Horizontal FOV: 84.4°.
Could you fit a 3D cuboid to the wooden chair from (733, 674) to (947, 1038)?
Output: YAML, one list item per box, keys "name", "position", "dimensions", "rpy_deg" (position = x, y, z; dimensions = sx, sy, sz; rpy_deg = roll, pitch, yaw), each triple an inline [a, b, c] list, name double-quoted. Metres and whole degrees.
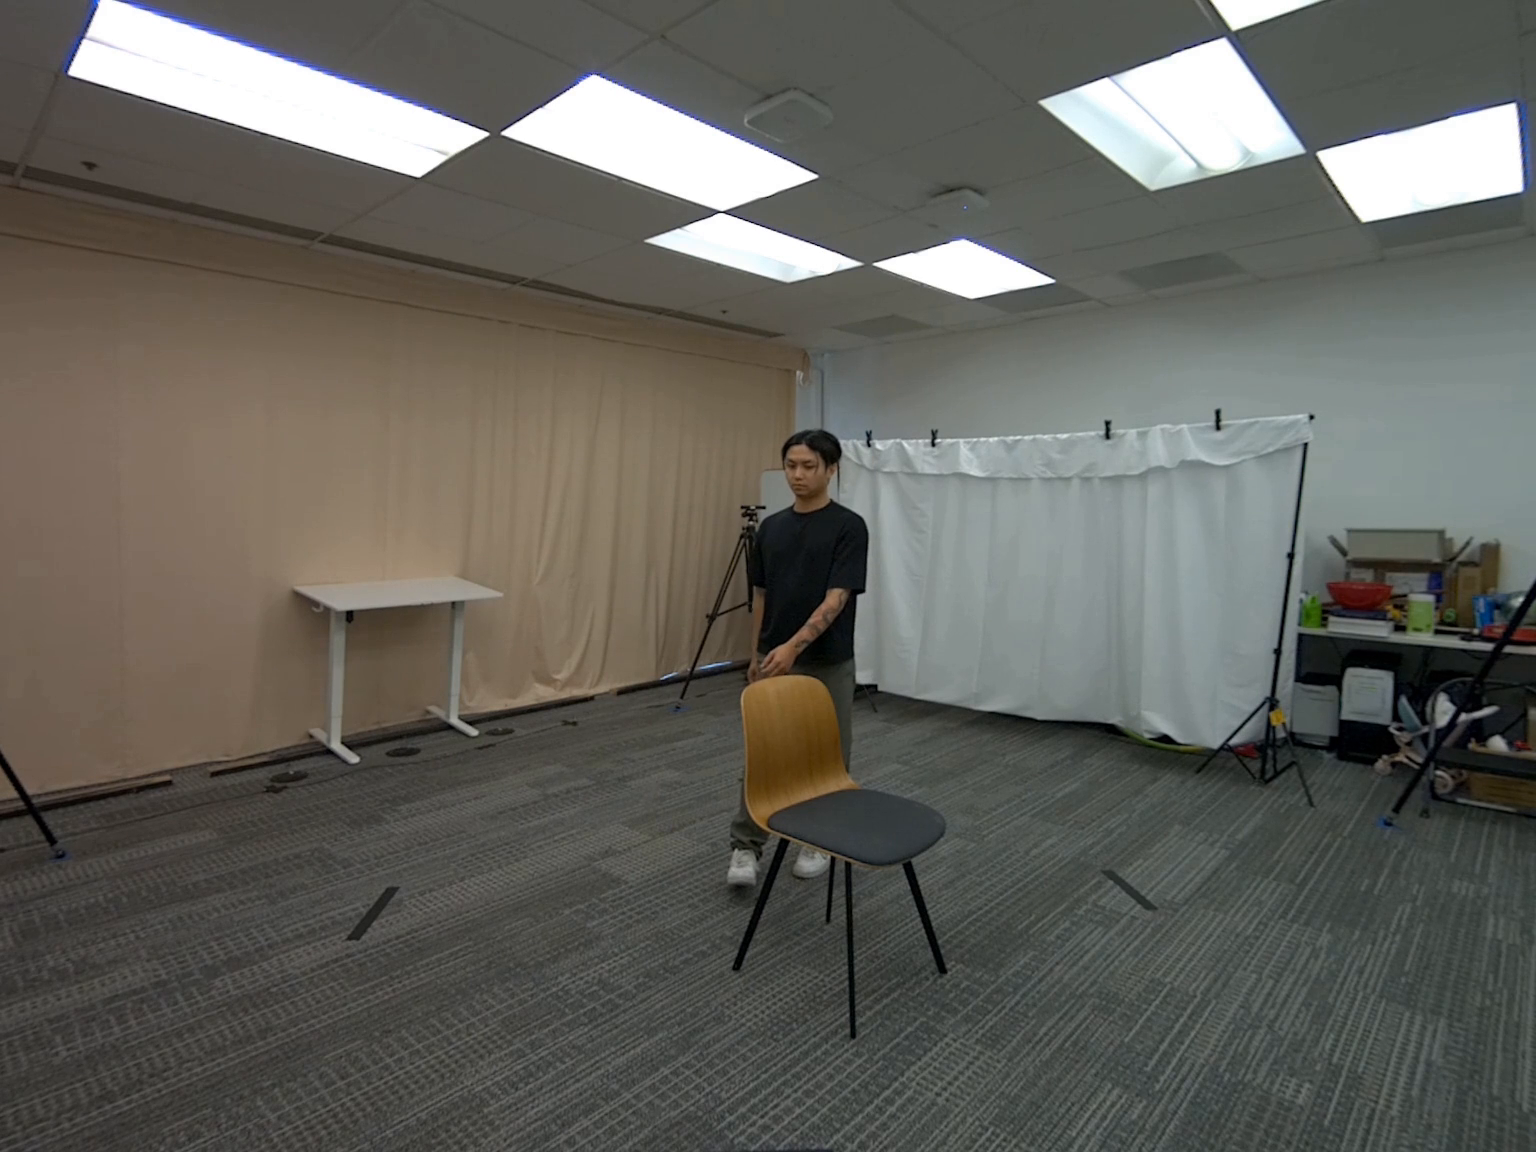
- name: "wooden chair"
  position: [0.217, 0.756, 2.479]
  dimensions: [0.539, 0.877, 0.463]
  rpy_deg: [-3, 0, 45]
